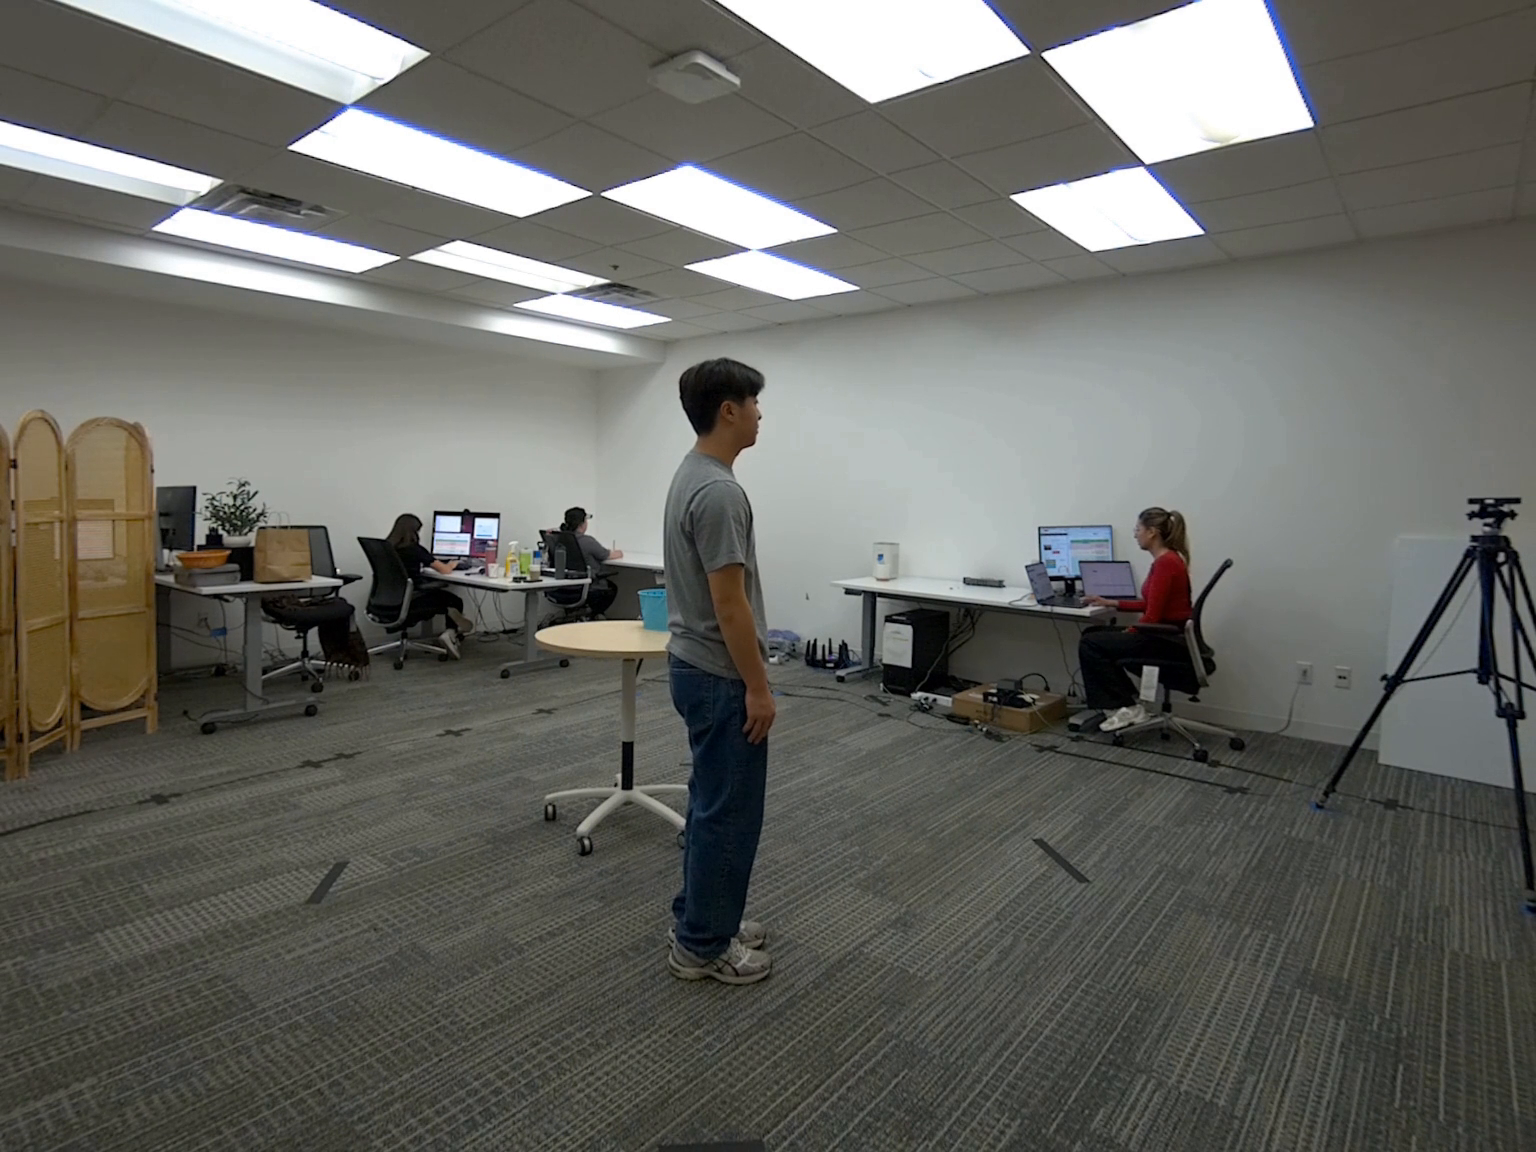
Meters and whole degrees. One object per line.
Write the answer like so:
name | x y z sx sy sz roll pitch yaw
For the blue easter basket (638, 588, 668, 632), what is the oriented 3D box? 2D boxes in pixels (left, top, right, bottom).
blue easter basket | -0.476 0.147 3.721 0.243 0.155 0.245 1 4 -2
